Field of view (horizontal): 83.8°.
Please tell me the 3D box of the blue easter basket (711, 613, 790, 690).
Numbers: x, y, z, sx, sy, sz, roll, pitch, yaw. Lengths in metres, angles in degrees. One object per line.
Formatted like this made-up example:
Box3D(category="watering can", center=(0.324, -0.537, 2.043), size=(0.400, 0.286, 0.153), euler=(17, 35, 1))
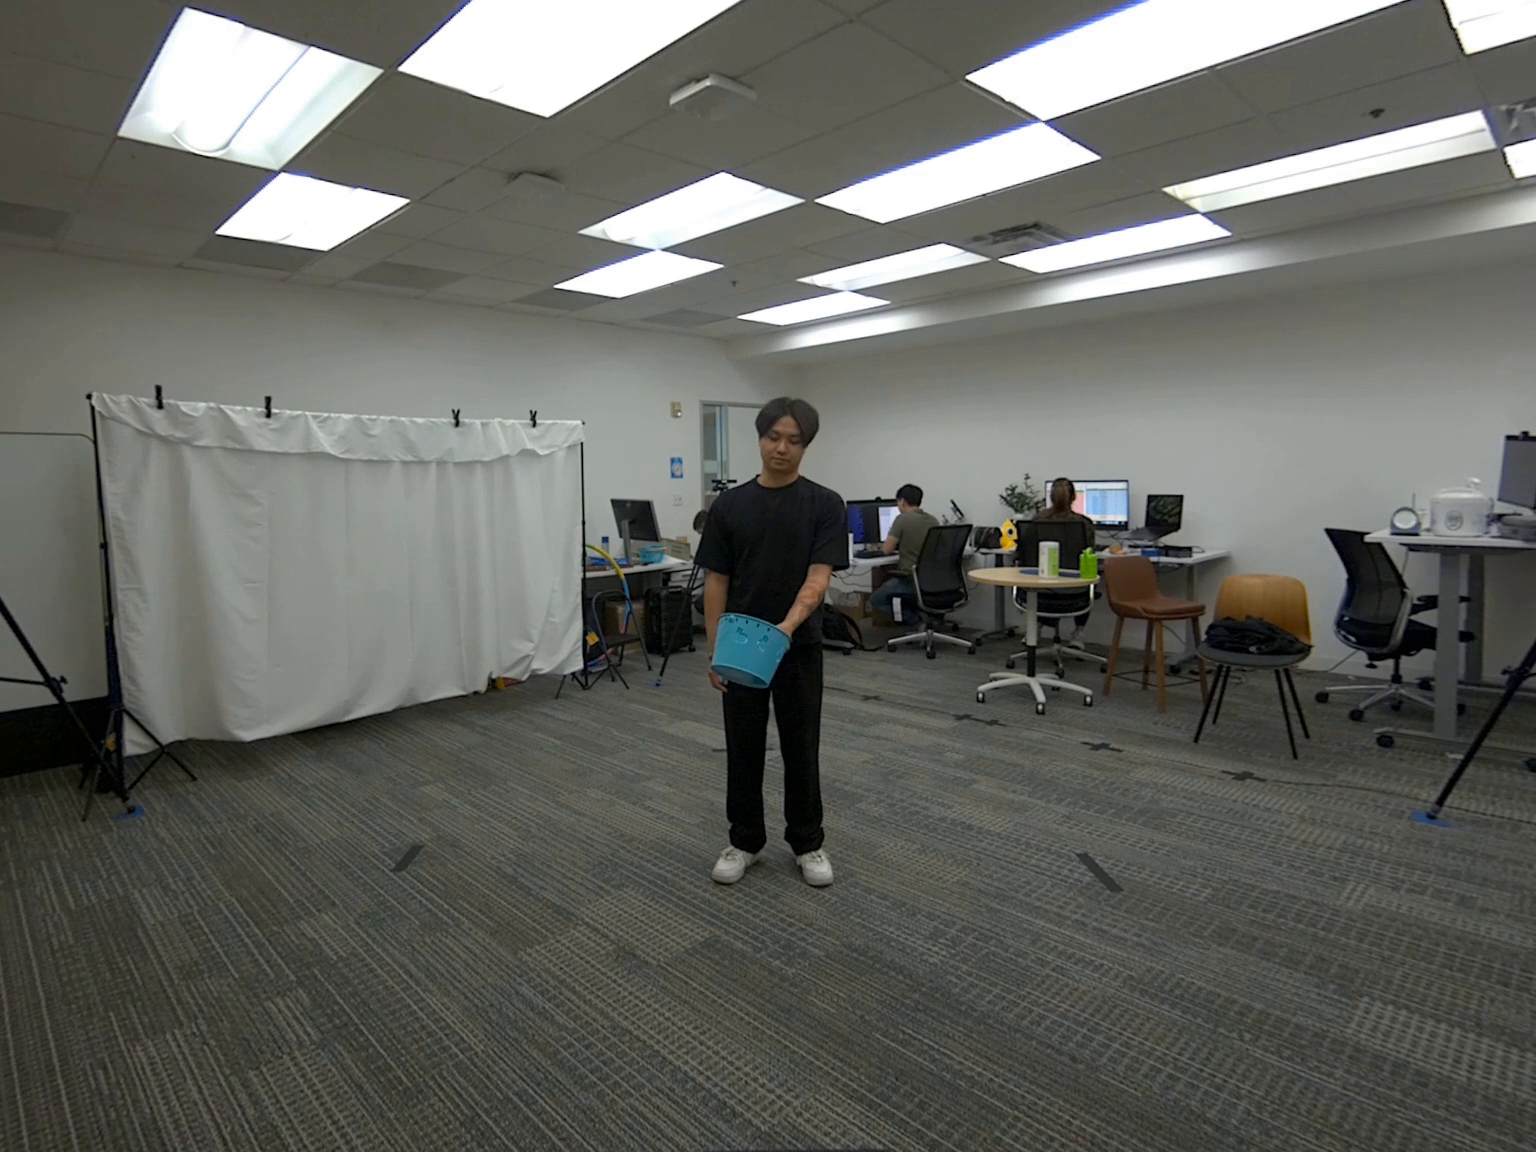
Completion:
Box3D(category="blue easter basket", center=(-0.063, 0.246, 2.561), size=(0.245, 0.157, 0.239), euler=(17, -22, 6))
